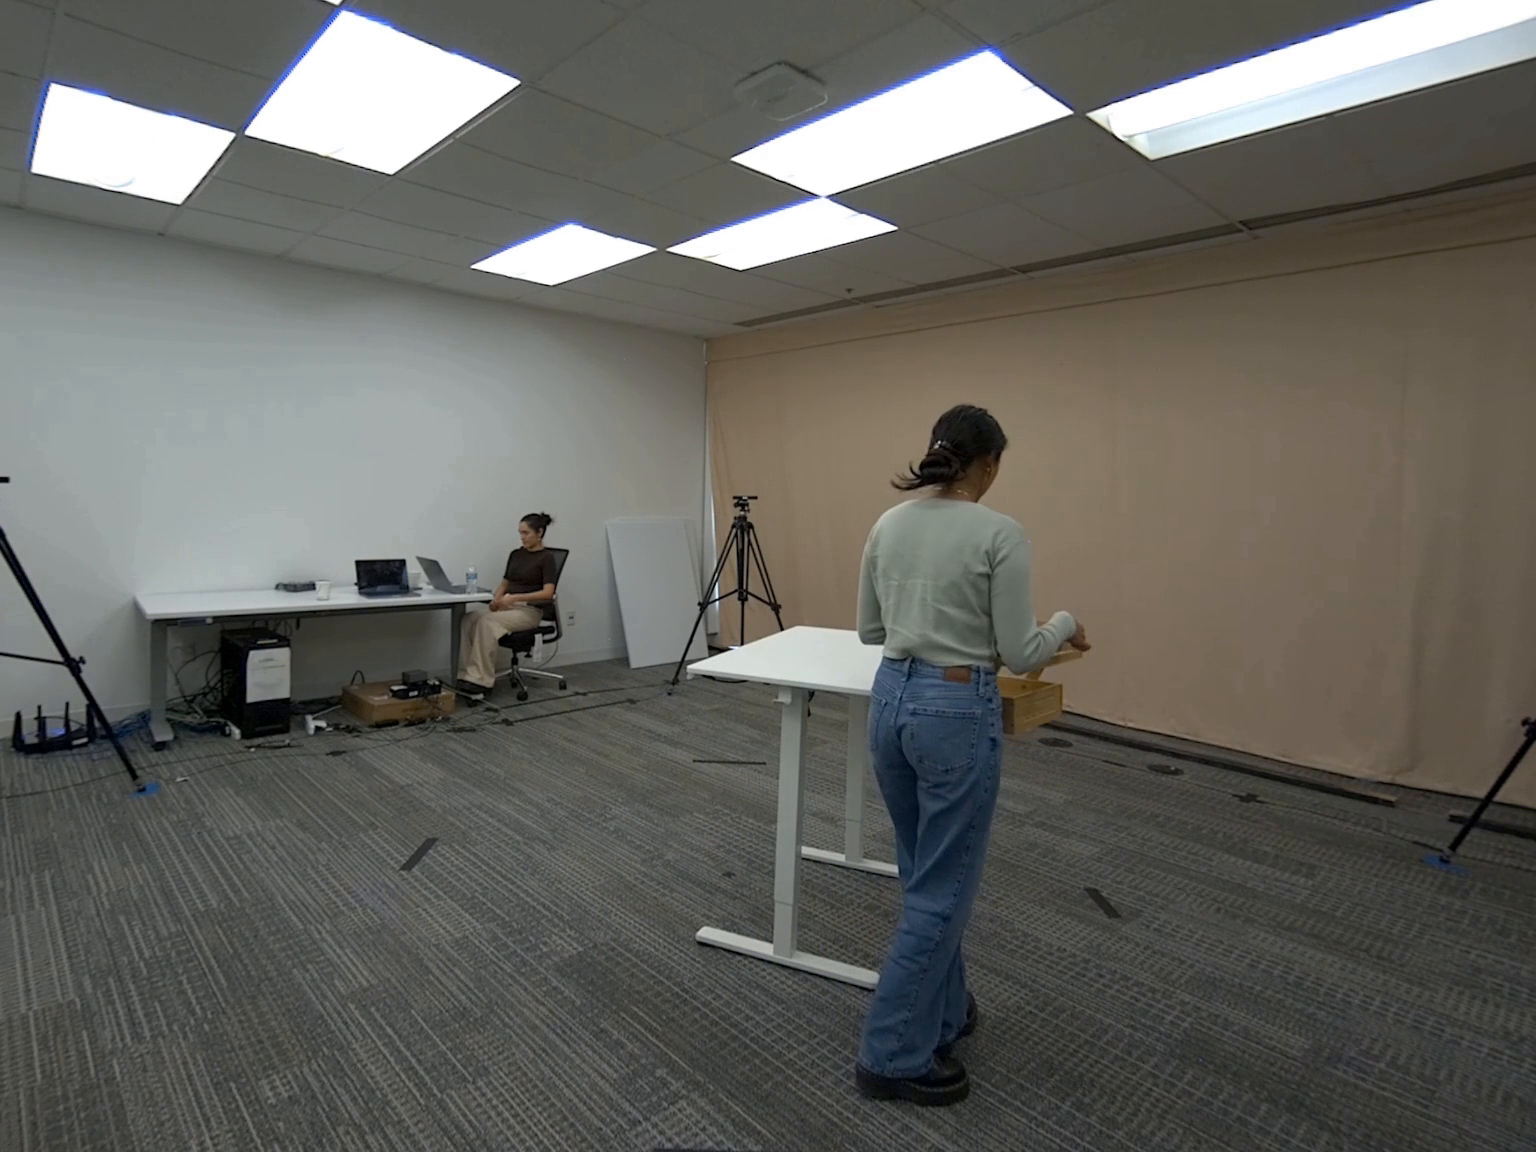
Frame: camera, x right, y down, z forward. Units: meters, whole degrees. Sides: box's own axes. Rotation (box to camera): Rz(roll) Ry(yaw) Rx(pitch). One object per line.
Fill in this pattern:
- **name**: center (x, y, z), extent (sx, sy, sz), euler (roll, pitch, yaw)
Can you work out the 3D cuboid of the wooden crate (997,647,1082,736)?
- **wooden crate**: center (0.625, 0.252, 2.253), extent (0.309, 0.273, 0.317), euler (2, 3, 42)
